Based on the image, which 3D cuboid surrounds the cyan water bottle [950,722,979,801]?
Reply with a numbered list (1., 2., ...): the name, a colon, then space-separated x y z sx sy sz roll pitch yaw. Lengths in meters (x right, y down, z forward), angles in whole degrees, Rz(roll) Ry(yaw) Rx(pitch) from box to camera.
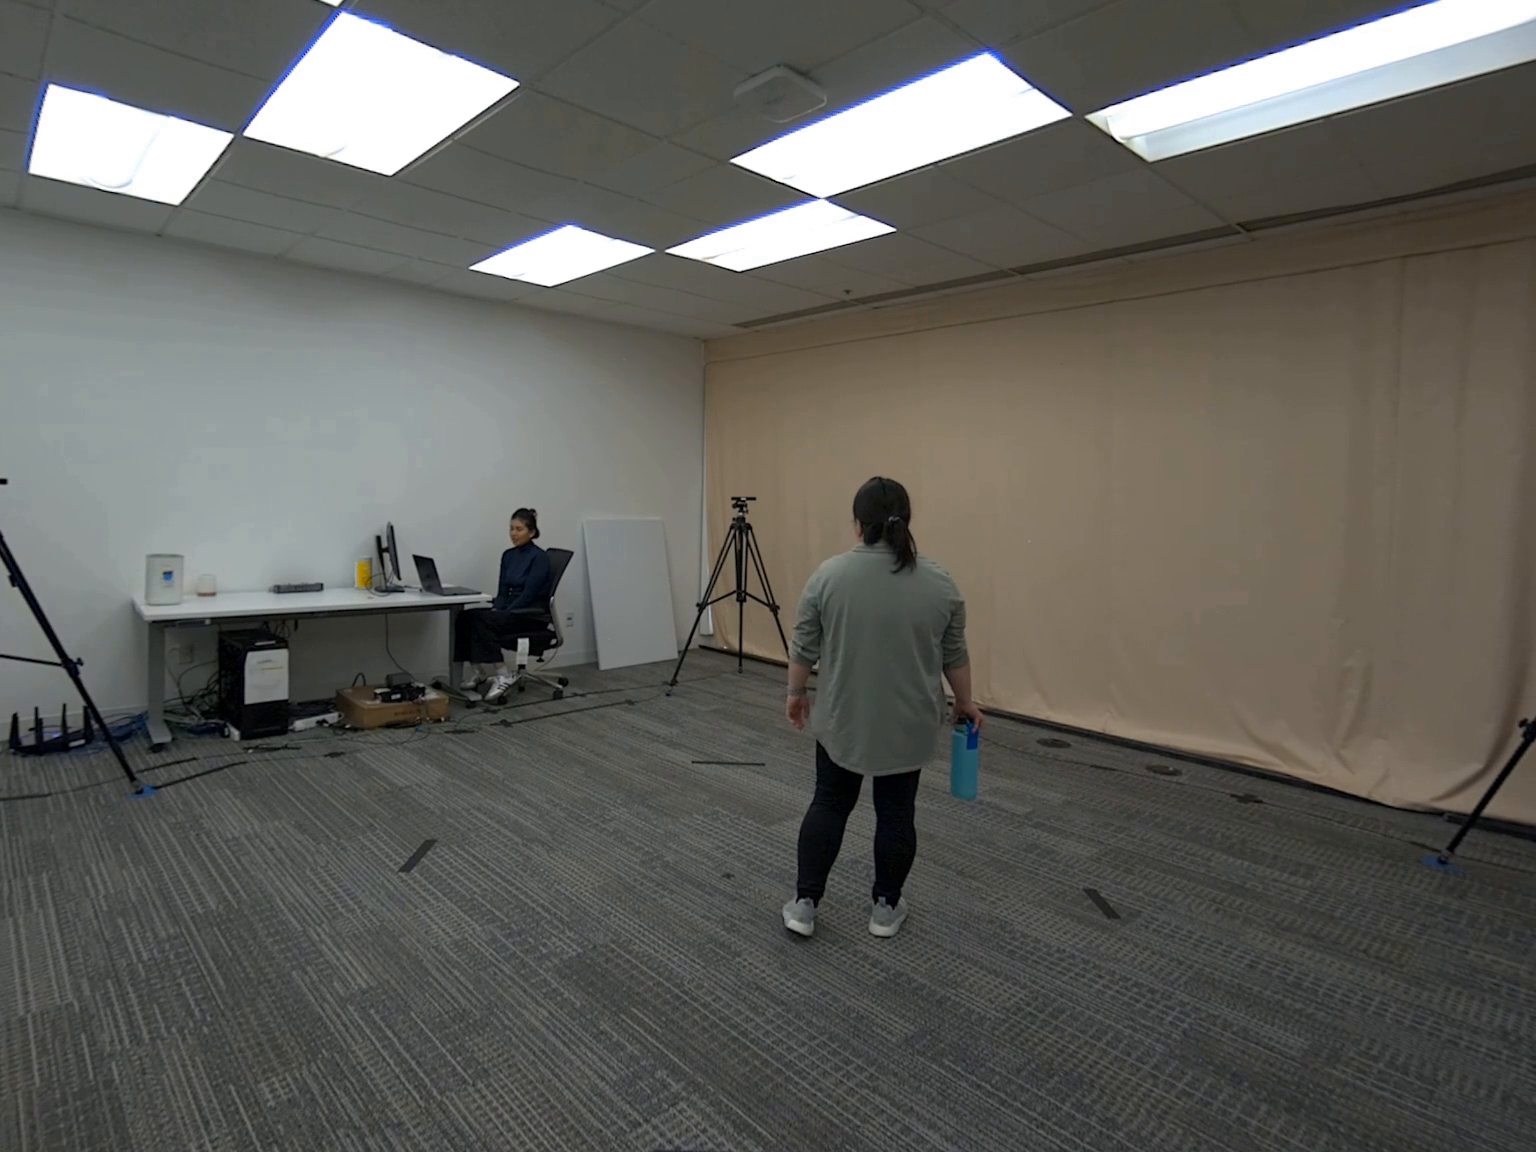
1. cyan water bottle: 0.663 0.612 2.866 0.092 0.282 0.093 1 6 -1
